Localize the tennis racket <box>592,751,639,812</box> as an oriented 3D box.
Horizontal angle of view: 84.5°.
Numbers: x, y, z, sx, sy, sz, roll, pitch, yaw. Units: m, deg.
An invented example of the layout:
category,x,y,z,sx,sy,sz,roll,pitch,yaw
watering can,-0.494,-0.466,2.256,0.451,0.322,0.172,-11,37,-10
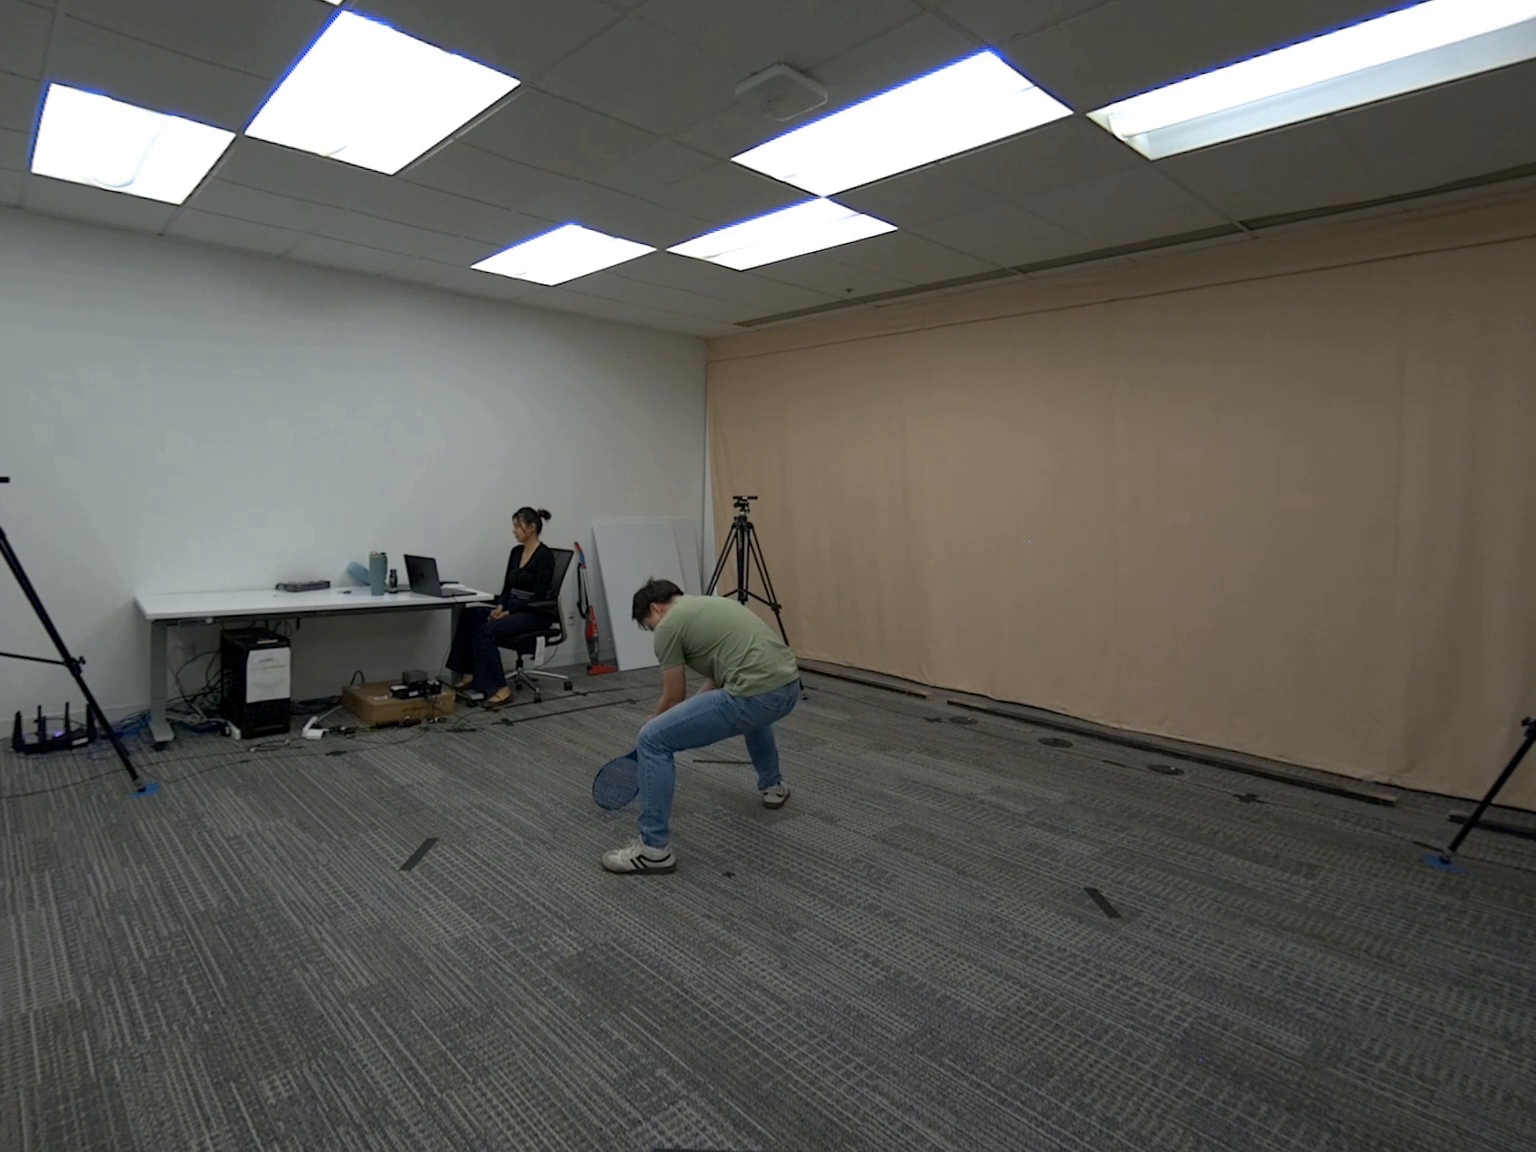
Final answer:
category,x,y,z,sx,sy,sz,roll,pitch,yaw
tennis racket,-0.616,0.846,3.689,0.209,0.432,0.032,36,6,-21
